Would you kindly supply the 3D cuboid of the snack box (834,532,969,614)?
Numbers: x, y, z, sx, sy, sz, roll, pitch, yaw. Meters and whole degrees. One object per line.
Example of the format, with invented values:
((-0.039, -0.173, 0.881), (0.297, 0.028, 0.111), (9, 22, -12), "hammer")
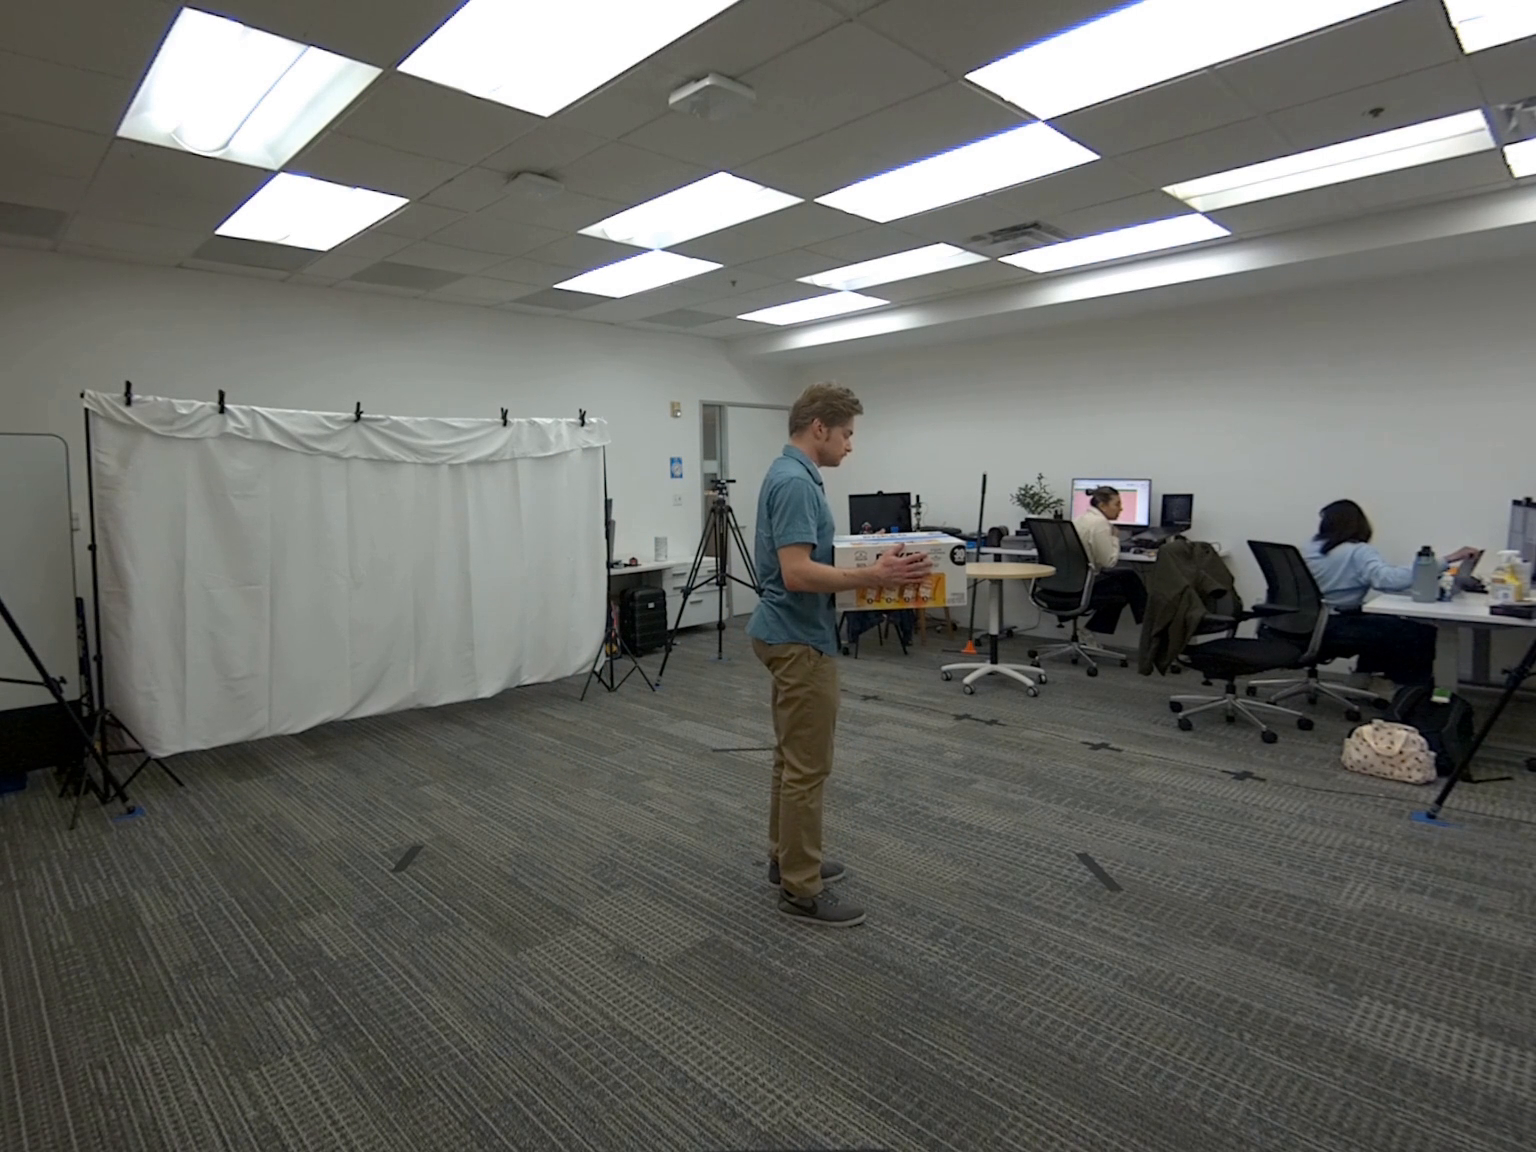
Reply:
((0.398, -0.019, 2.801), (0.405, 0.204, 0.342), (-3, 8, 0), "snack box")
